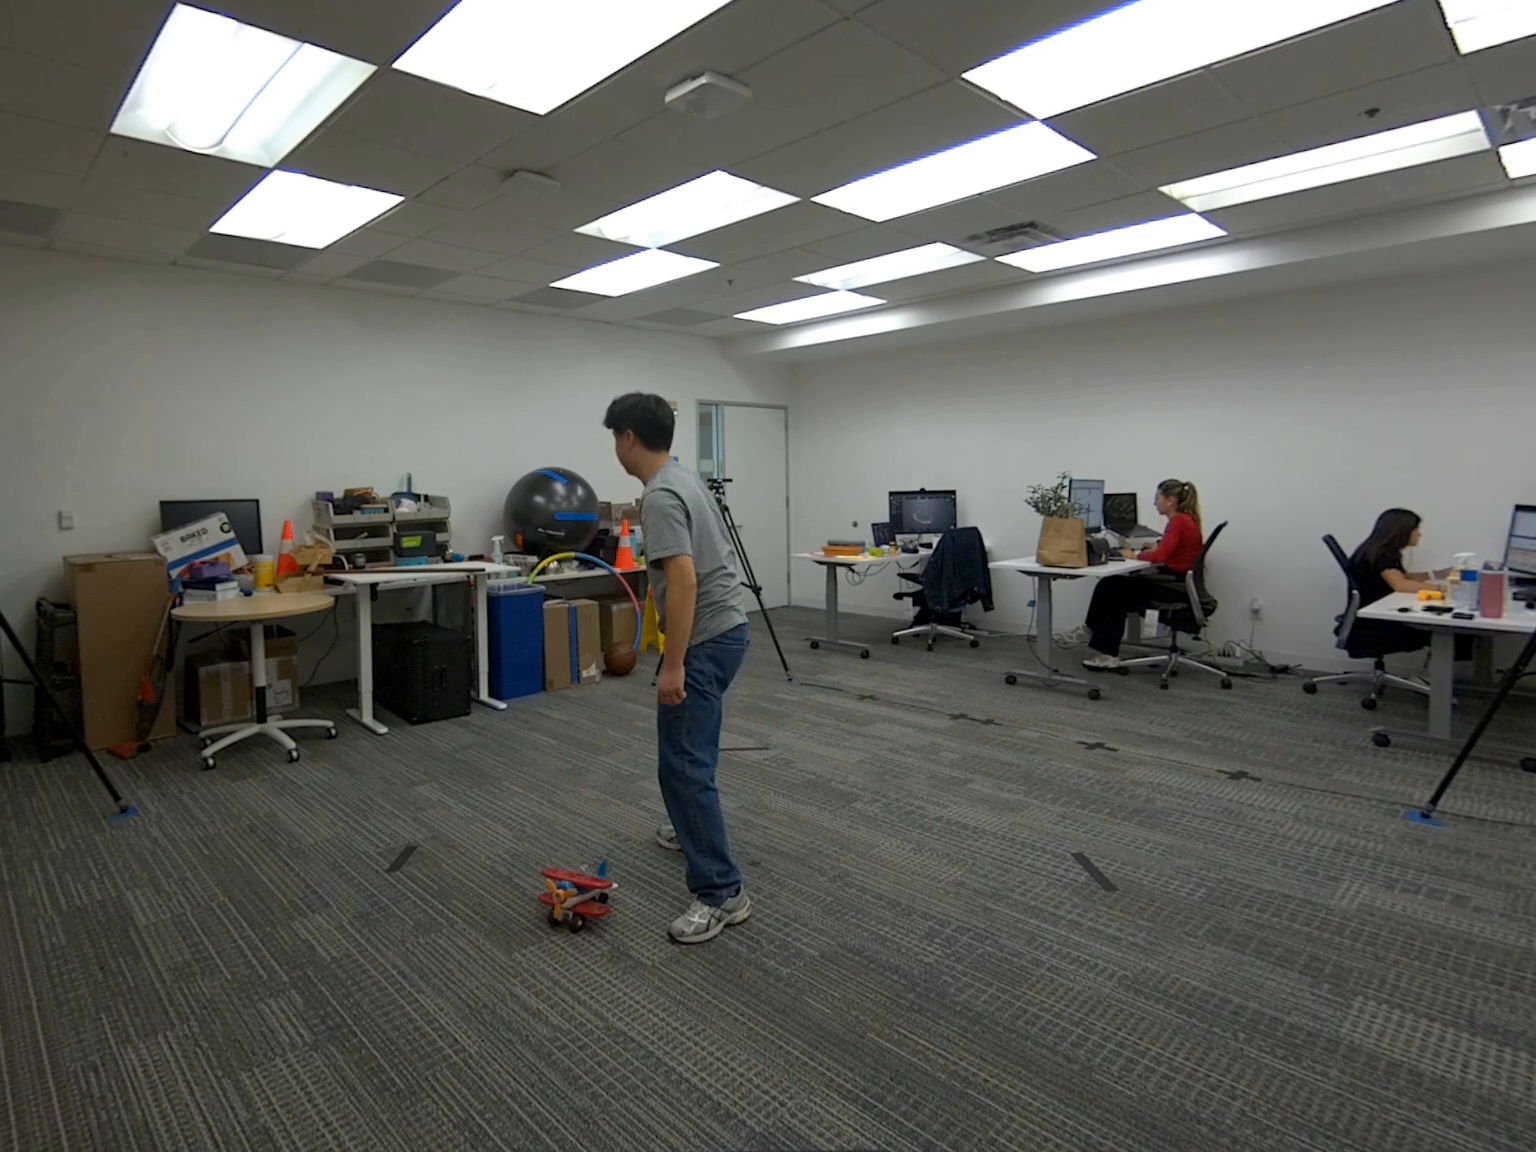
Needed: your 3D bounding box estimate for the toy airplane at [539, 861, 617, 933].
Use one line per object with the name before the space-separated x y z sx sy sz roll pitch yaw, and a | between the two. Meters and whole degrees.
toy airplane | -0.611 1.022 2.760 0.251 0.155 0.261 -2 7 -3
